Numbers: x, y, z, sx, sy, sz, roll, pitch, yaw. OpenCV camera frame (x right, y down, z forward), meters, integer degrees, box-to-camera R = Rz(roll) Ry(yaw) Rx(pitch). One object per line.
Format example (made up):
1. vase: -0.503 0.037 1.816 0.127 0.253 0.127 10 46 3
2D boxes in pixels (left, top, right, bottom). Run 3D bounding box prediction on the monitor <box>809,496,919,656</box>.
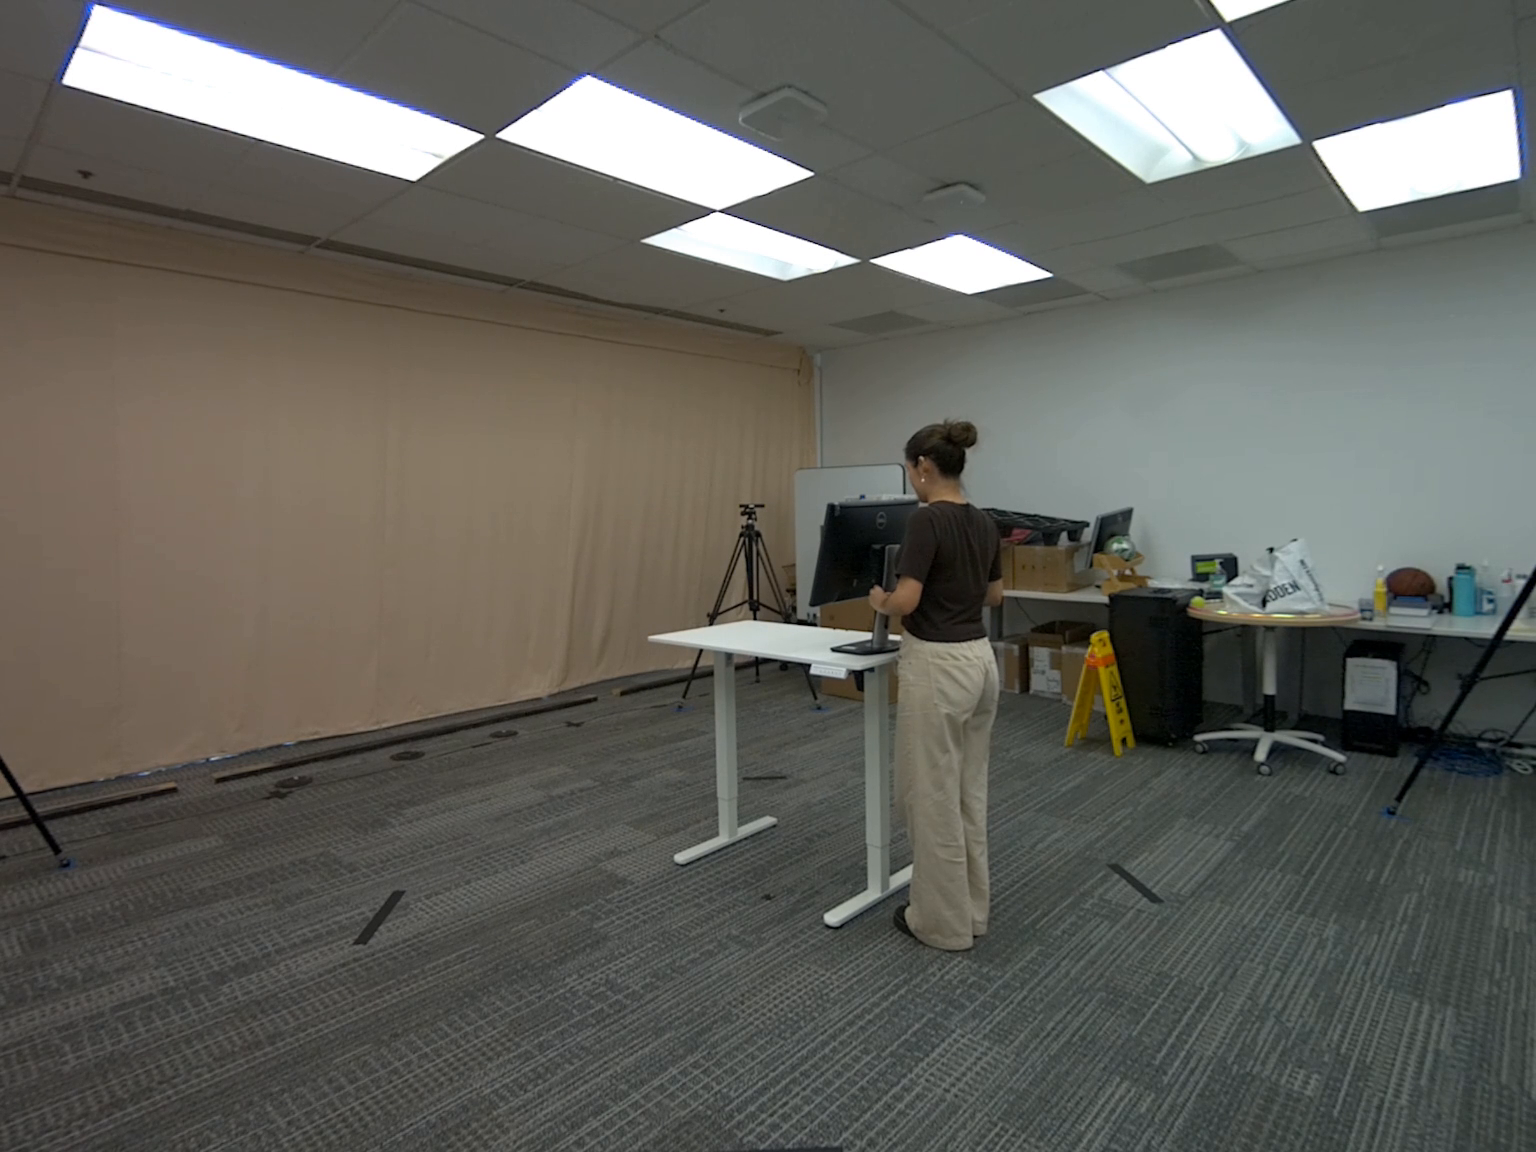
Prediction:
1. monitor: 0.371 -0.003 2.910 0.180 0.515 0.514 -2 4 41
